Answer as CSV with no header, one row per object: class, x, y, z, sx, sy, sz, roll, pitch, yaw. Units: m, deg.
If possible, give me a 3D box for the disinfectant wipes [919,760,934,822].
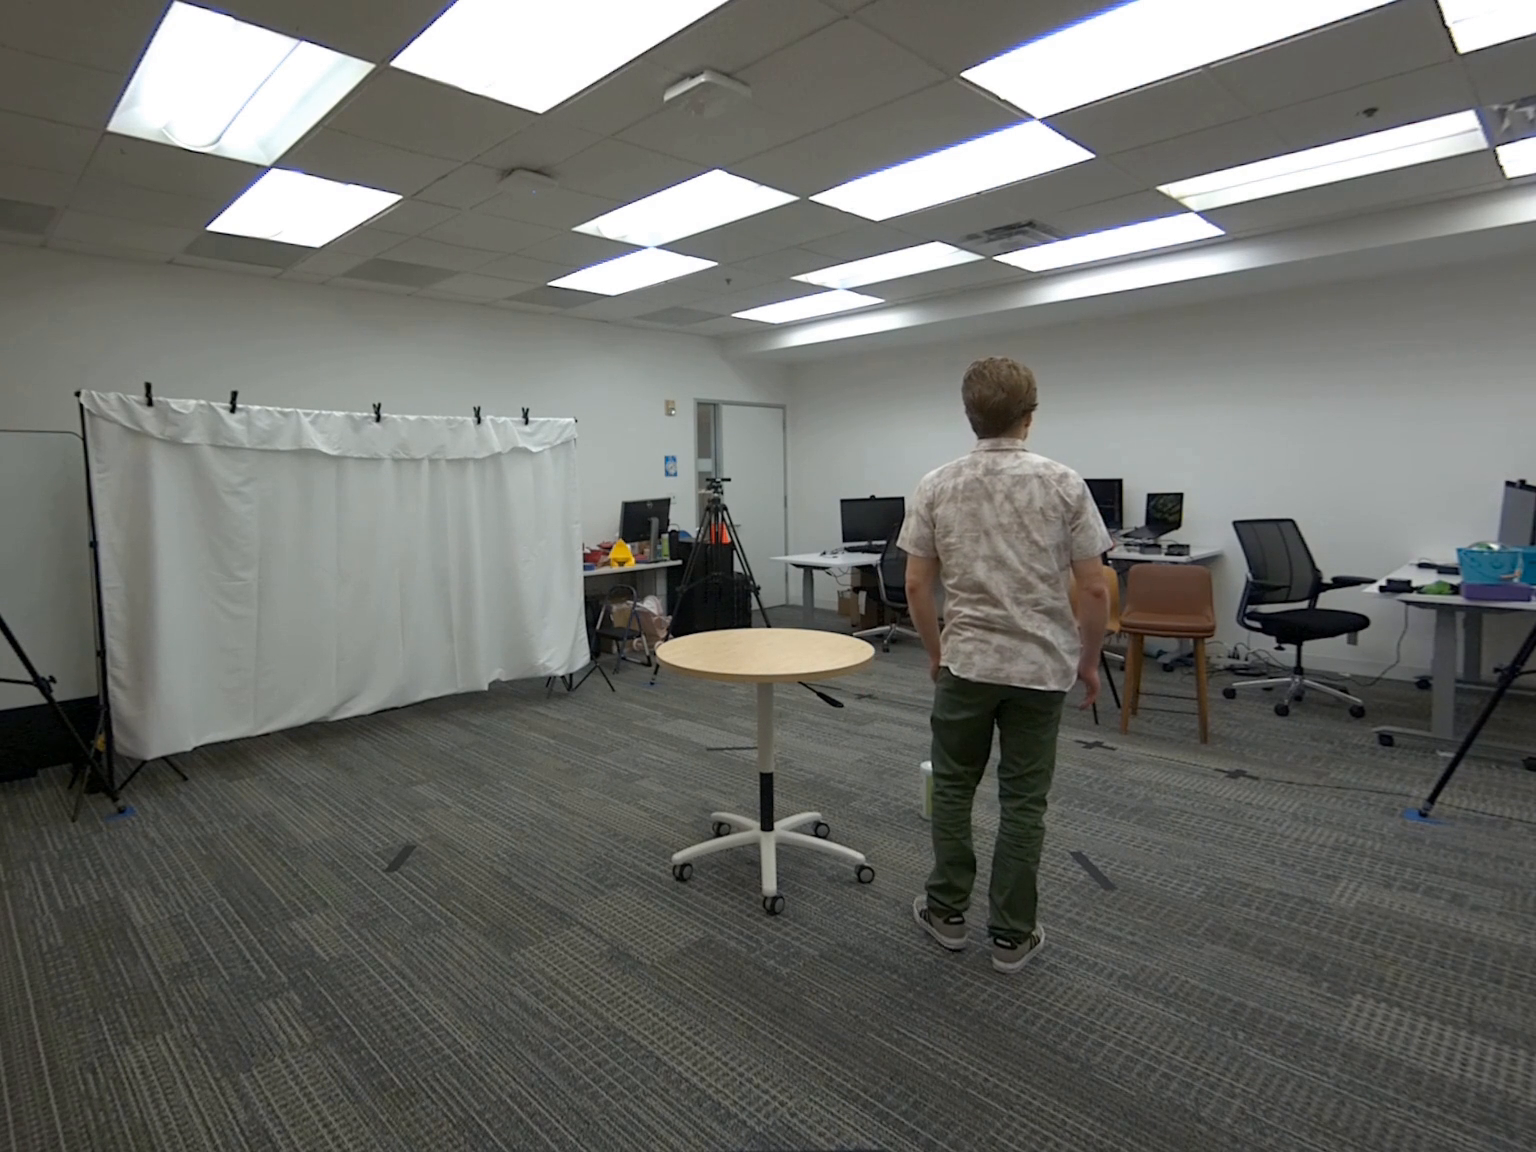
disinfectant wipes,0.686,0.879,3.498,0.118,0.217,0.118,-1,3,-2
